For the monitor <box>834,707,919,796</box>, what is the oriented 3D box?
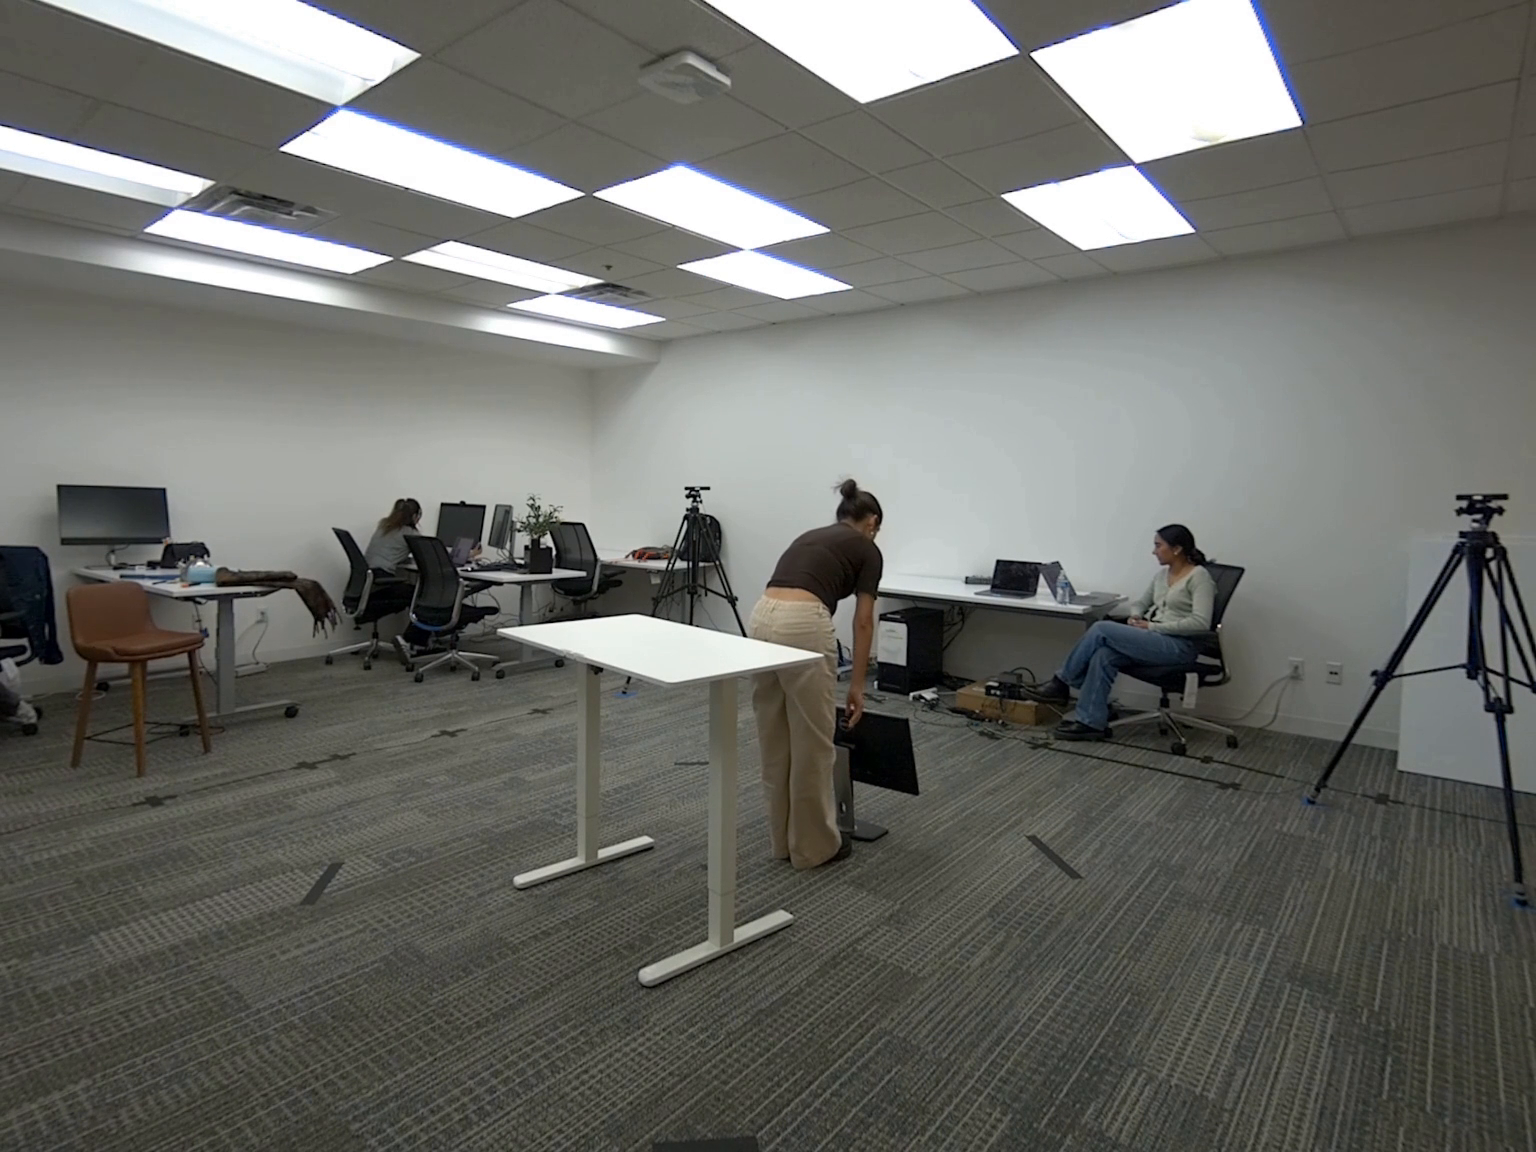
[{"bbox_3d":[0.325,0.783,3.473,0.556,0.520,0.182,3,6,35],"label":"monitor"}]
